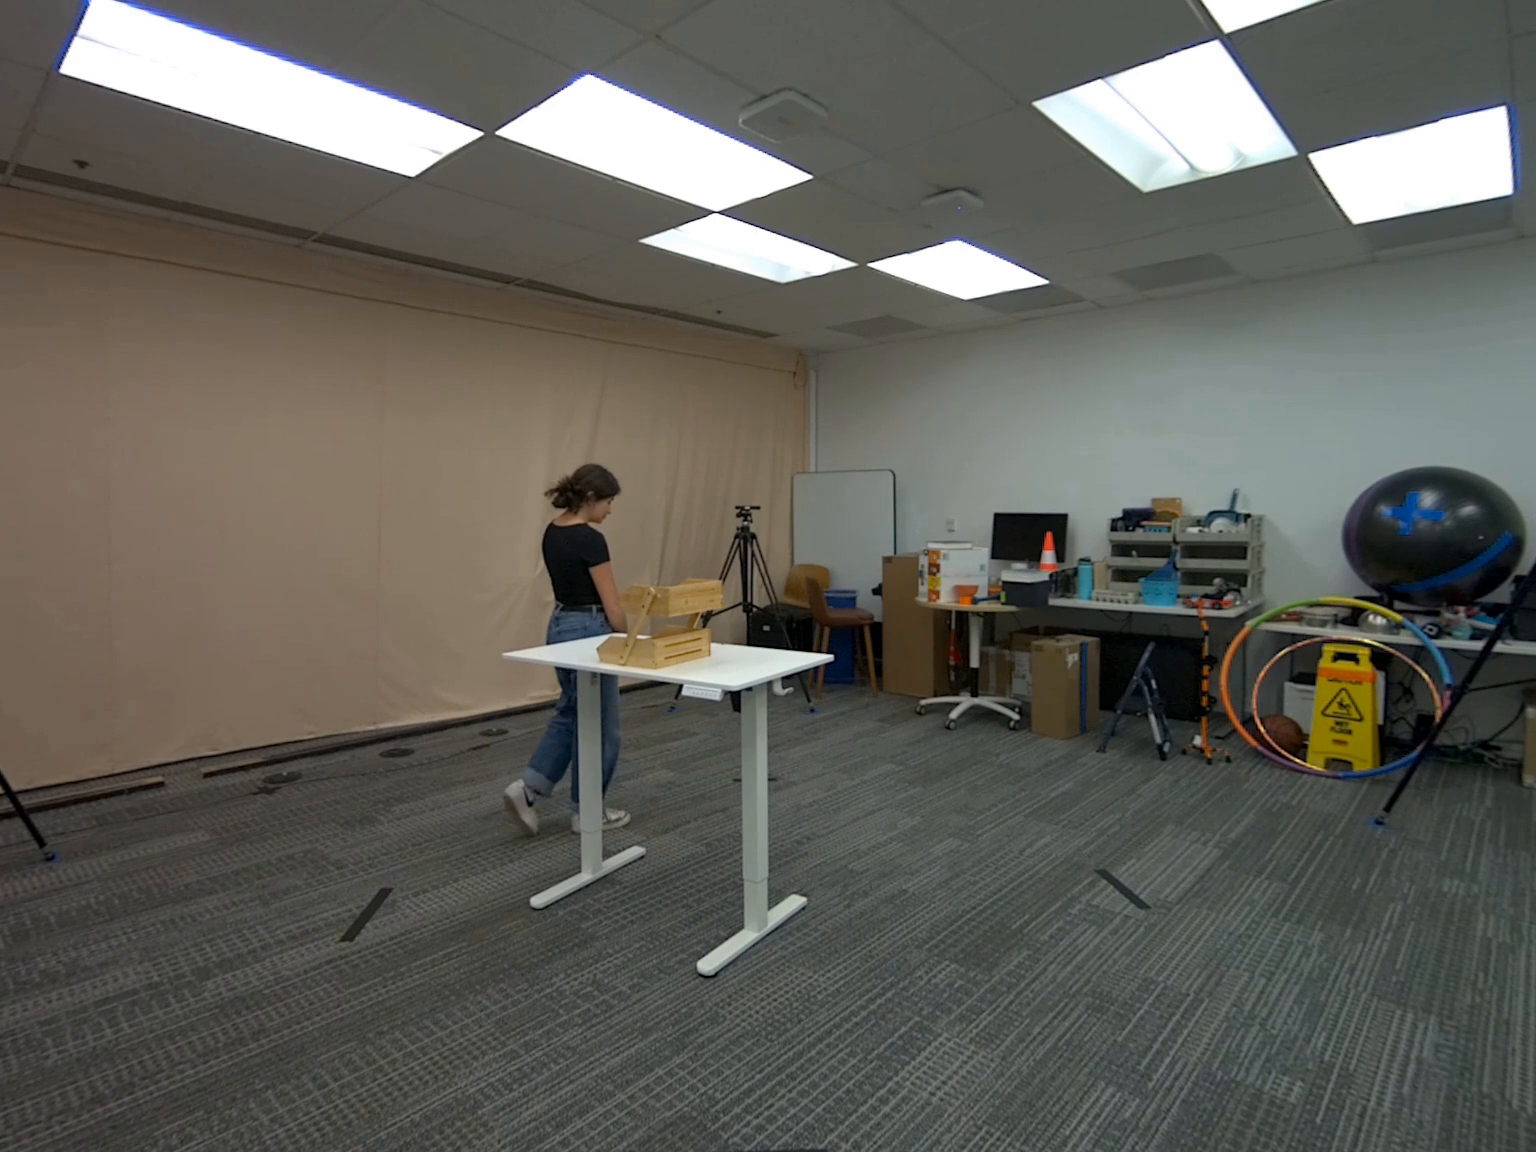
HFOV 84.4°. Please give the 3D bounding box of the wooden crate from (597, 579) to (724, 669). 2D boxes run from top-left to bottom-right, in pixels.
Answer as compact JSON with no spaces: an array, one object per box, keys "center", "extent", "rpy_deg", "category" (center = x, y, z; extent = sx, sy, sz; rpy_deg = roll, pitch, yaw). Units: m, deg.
[{"center":[-0.361,0.146,2.799],"extent":[0.311,0.273,0.315],"rpy_deg":[2,4,33],"category":"wooden crate"}]
